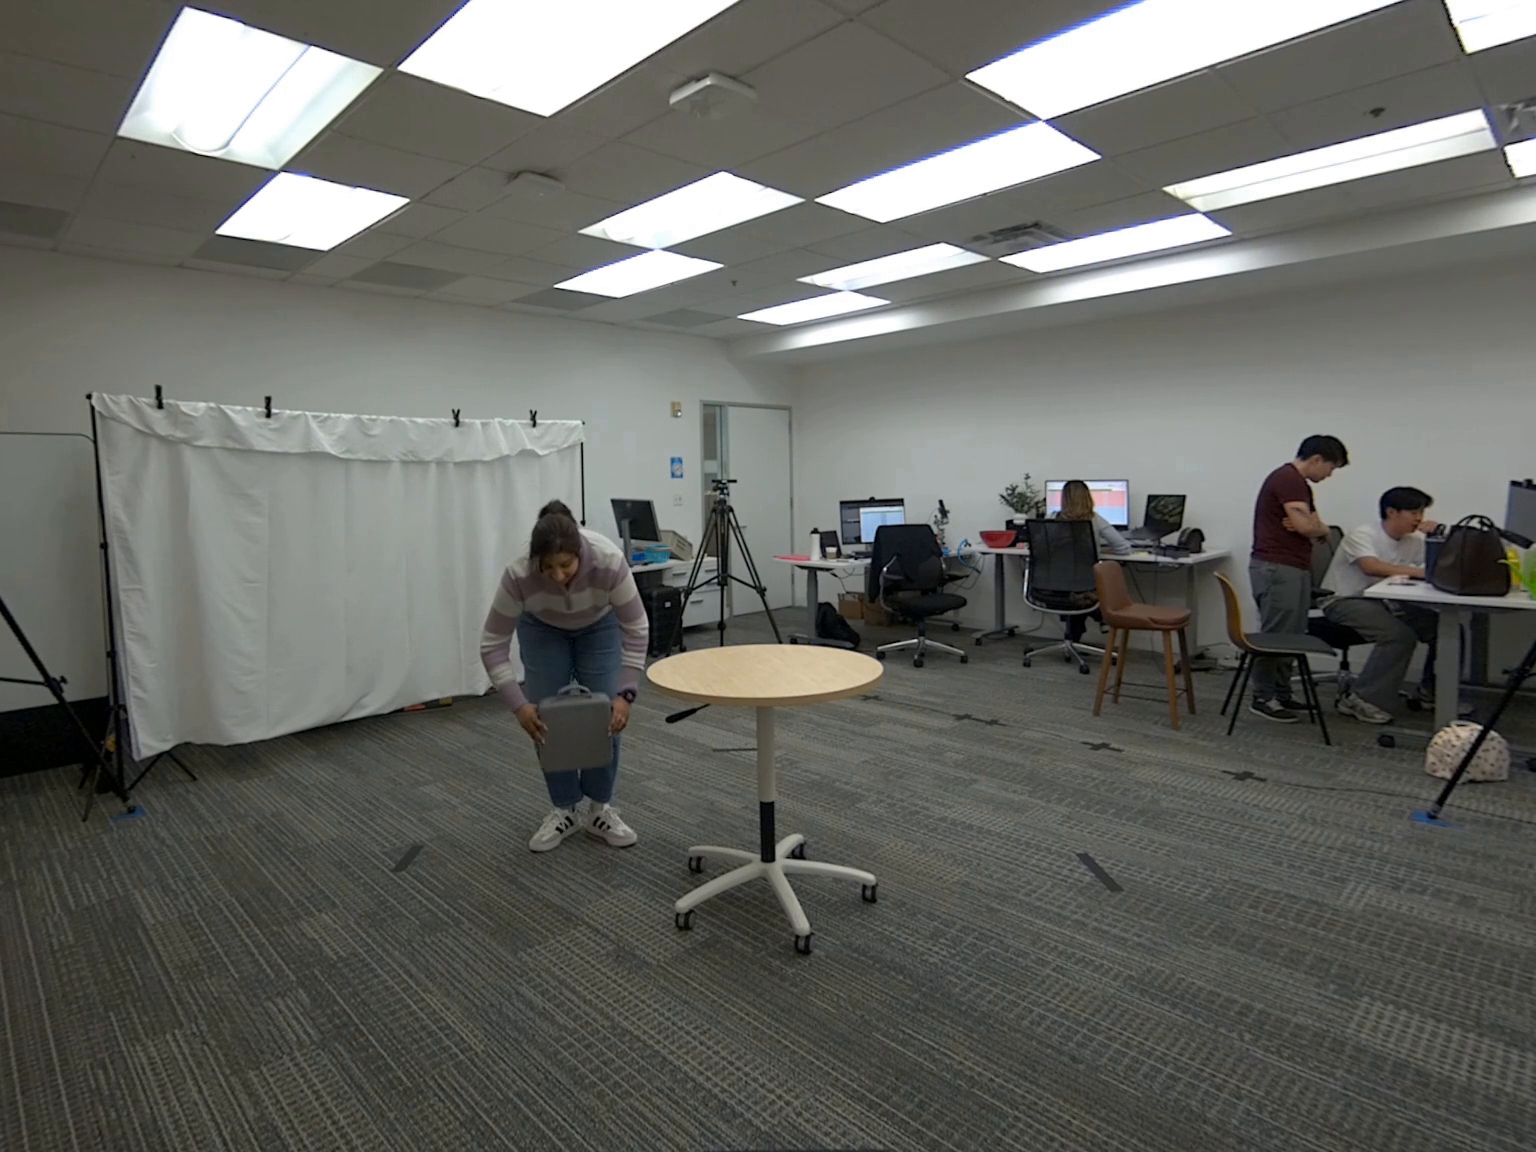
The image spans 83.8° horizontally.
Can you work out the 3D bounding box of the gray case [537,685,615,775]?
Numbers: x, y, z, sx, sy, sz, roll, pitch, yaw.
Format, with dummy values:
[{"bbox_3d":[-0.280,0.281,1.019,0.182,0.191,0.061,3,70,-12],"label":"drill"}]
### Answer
[{"bbox_3d":[-0.675,0.546,3.005,0.254,0.258,0.106,-2,10,-12],"label":"gray case"}]
